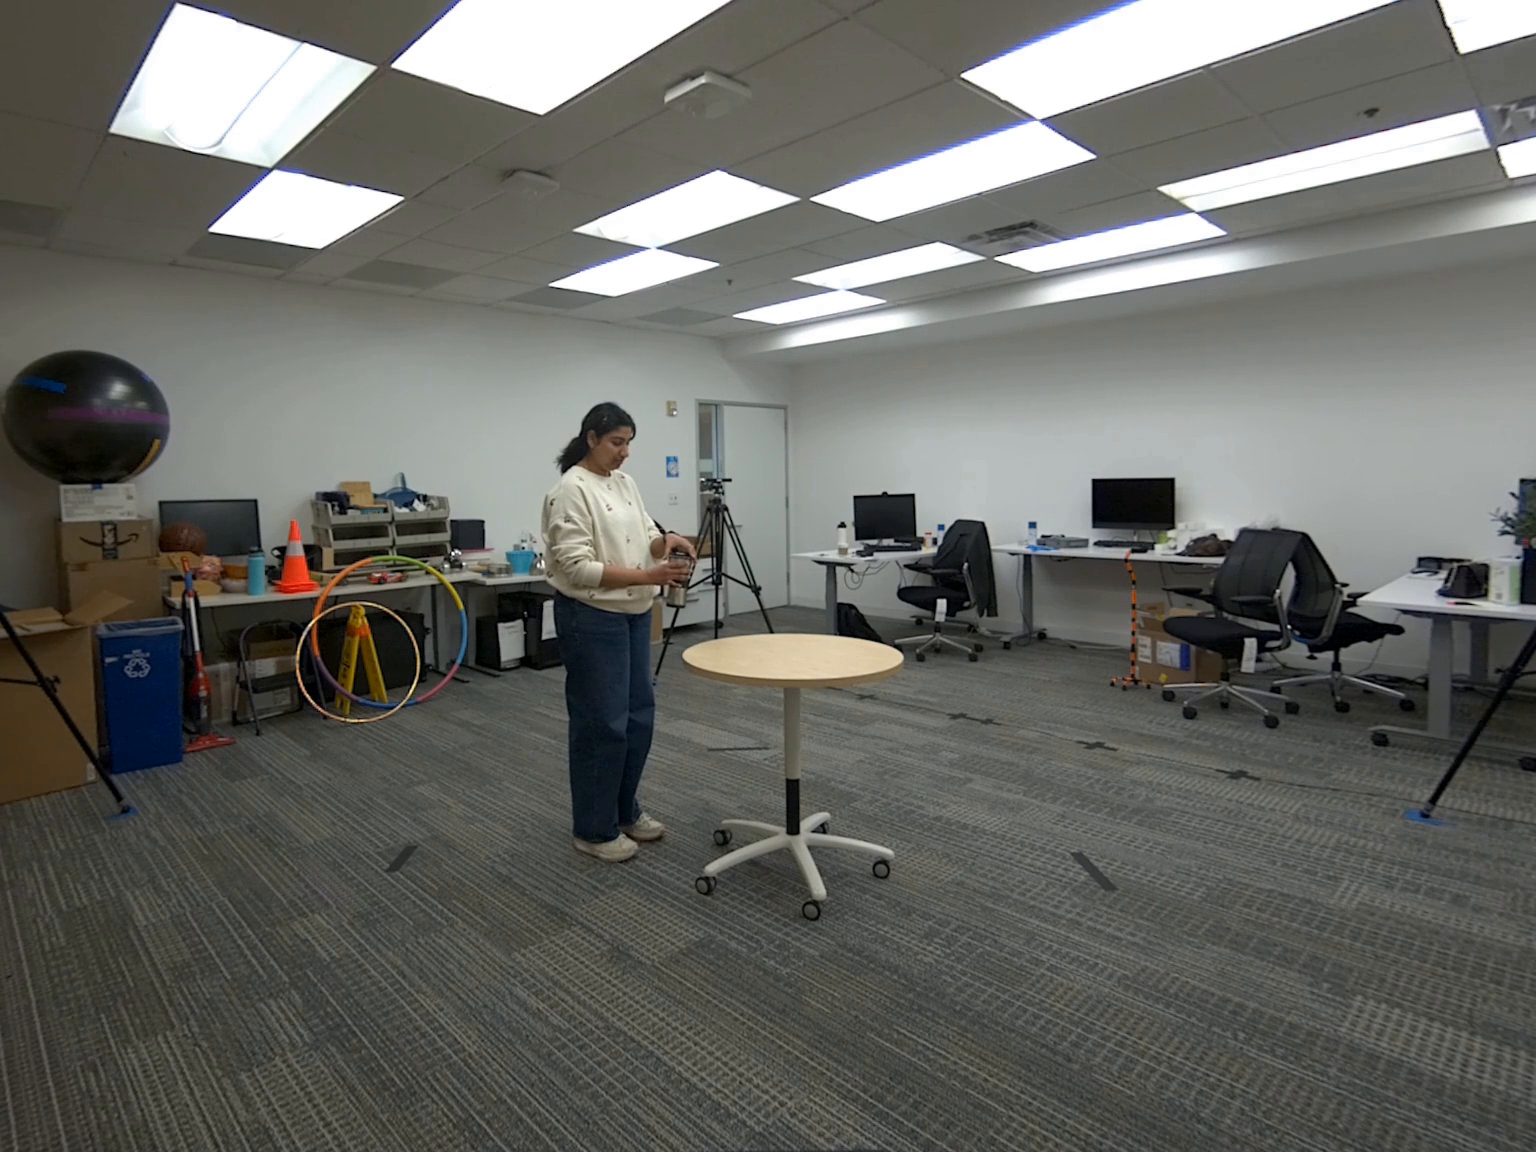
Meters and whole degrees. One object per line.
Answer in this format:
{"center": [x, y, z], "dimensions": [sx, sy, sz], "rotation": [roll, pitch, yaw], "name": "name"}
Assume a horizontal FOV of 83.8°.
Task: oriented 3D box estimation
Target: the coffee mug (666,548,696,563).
{"center": [-0.331, 0.012, 3.150], "dimensions": [0.088, 0.203, 0.122], "rotation": [2, 2, 0], "name": "coffee mug"}
